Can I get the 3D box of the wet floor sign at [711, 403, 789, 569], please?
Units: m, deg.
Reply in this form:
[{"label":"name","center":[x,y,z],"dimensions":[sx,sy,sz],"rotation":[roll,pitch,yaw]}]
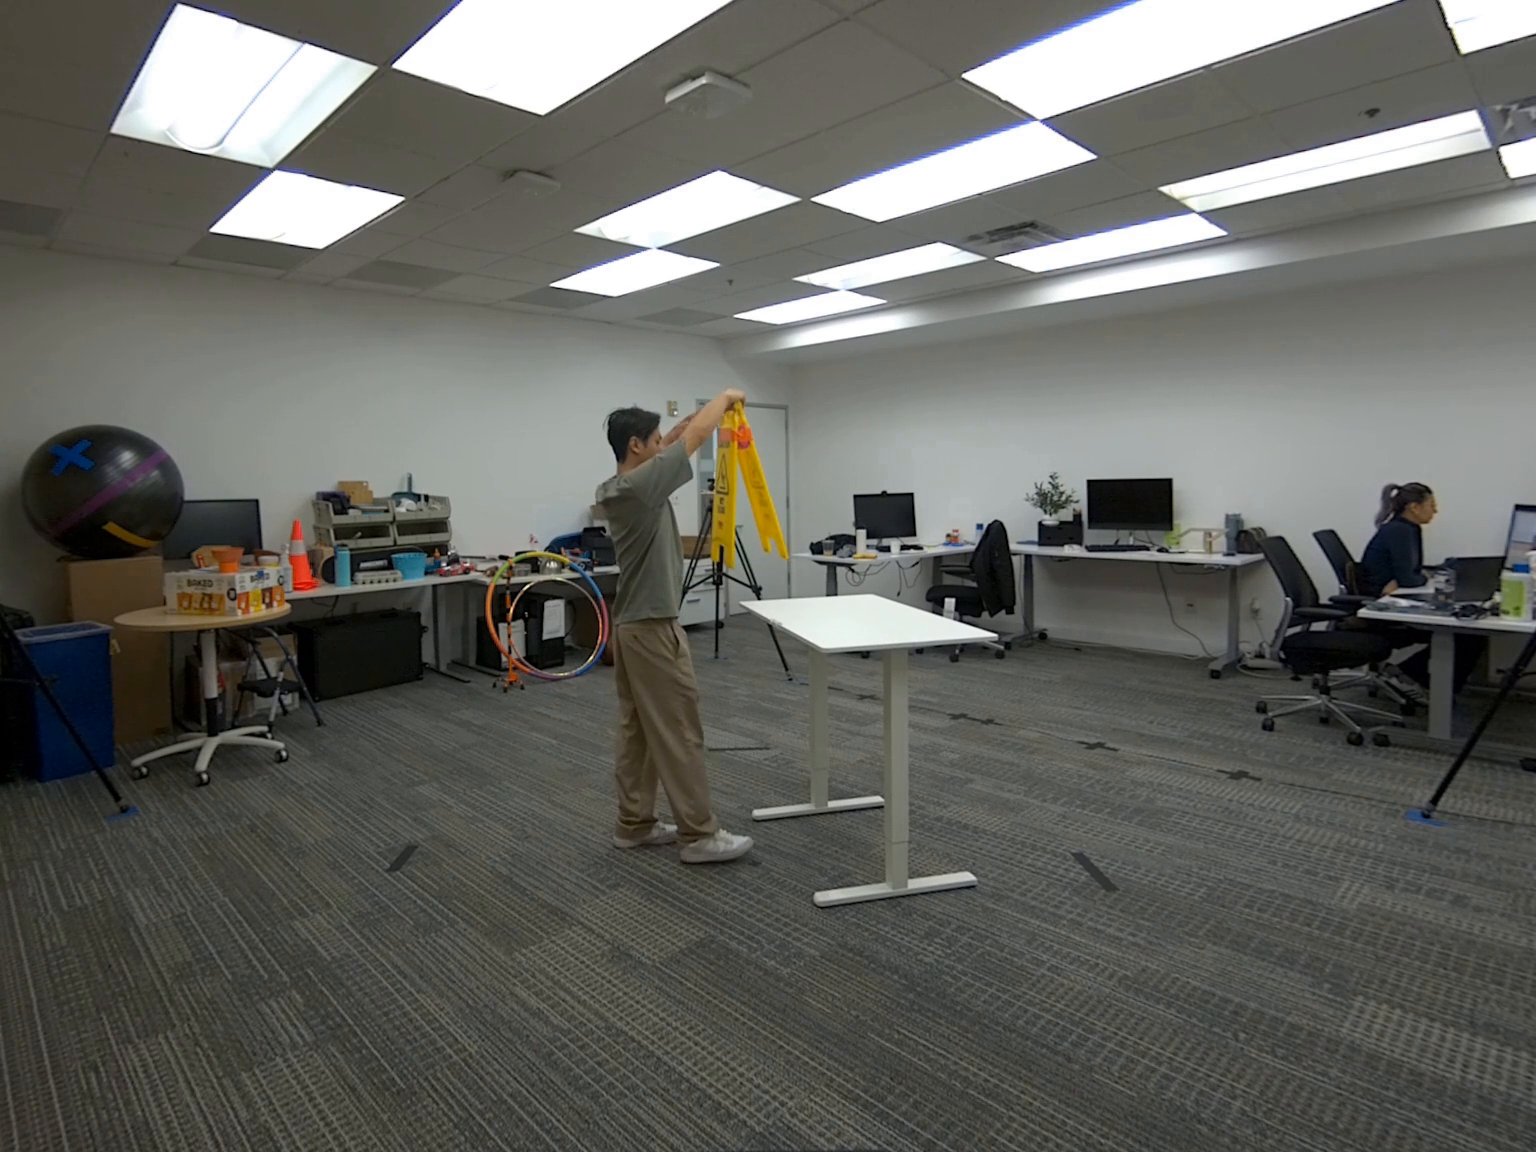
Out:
[{"label":"wet floor sign","center":[-0.109,-0.381,3.405],"dimensions":[0.286,0.640,0.288],"rotation":[-10,9,-17]}]
